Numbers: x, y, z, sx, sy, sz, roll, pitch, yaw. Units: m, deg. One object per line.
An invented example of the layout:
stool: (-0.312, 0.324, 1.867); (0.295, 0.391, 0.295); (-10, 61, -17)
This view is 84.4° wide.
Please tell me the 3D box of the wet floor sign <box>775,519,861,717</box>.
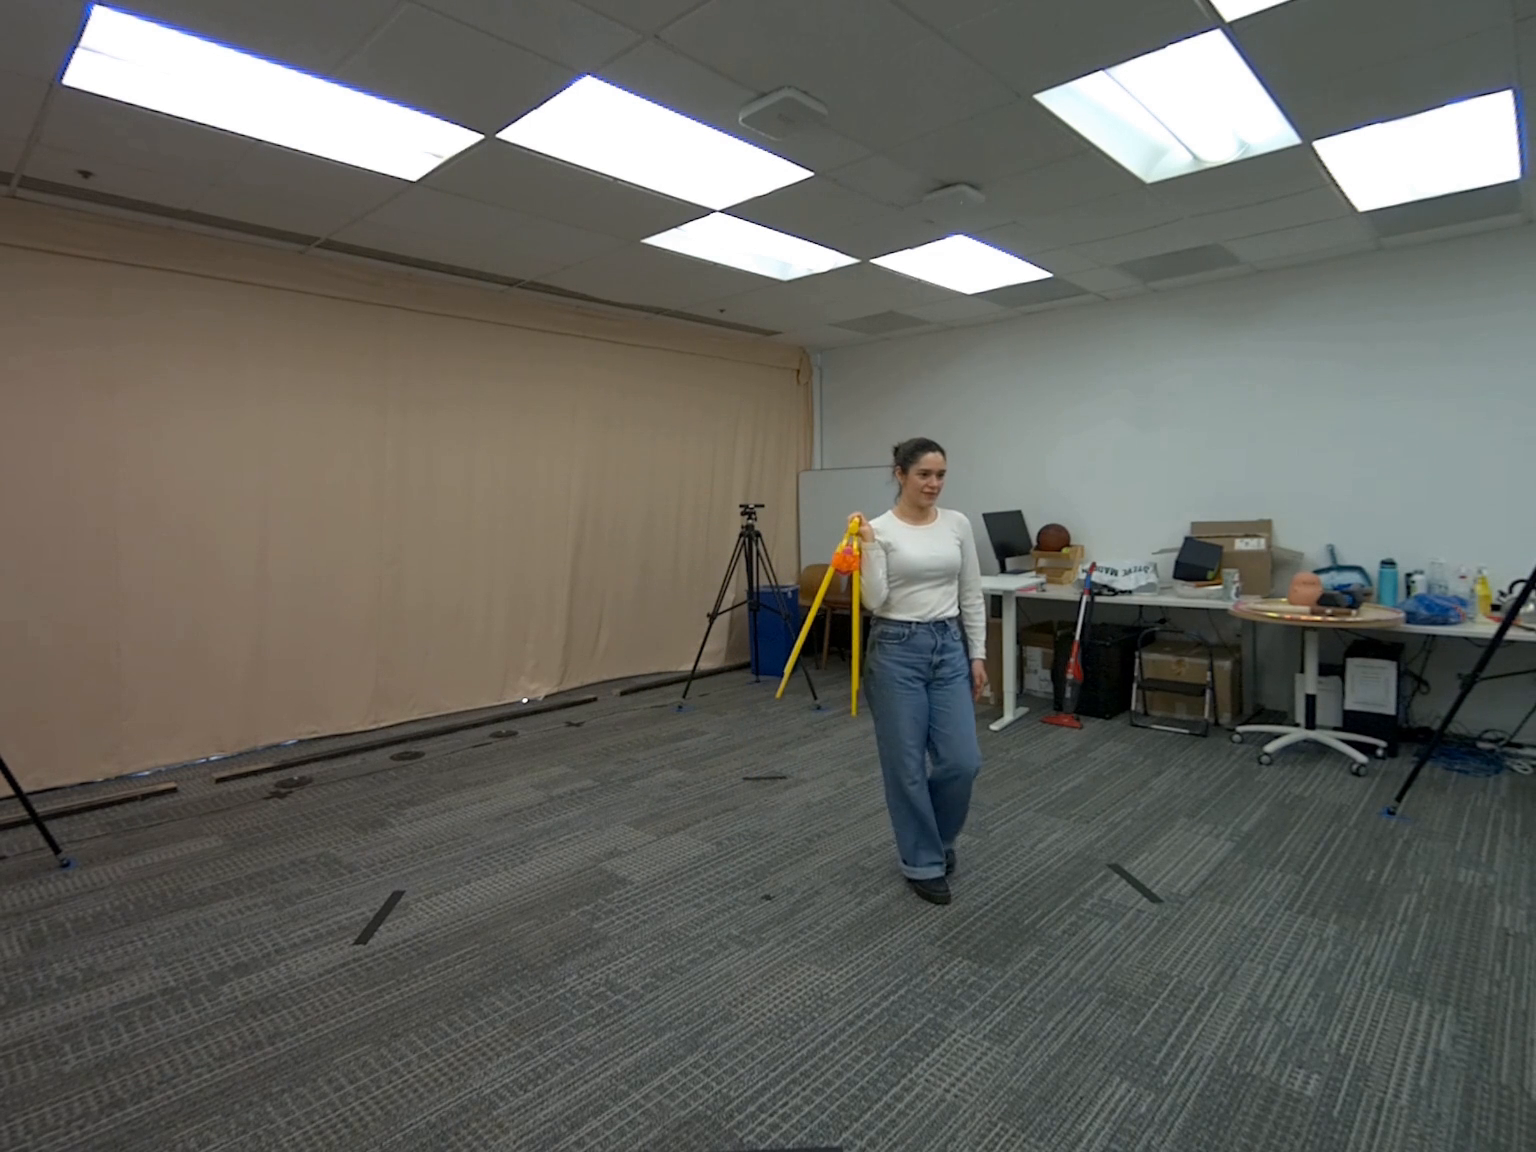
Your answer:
wet floor sign: (0.247, 0.117, 2.915); (0.292, 0.644, 0.281); (11, 8, 6)
